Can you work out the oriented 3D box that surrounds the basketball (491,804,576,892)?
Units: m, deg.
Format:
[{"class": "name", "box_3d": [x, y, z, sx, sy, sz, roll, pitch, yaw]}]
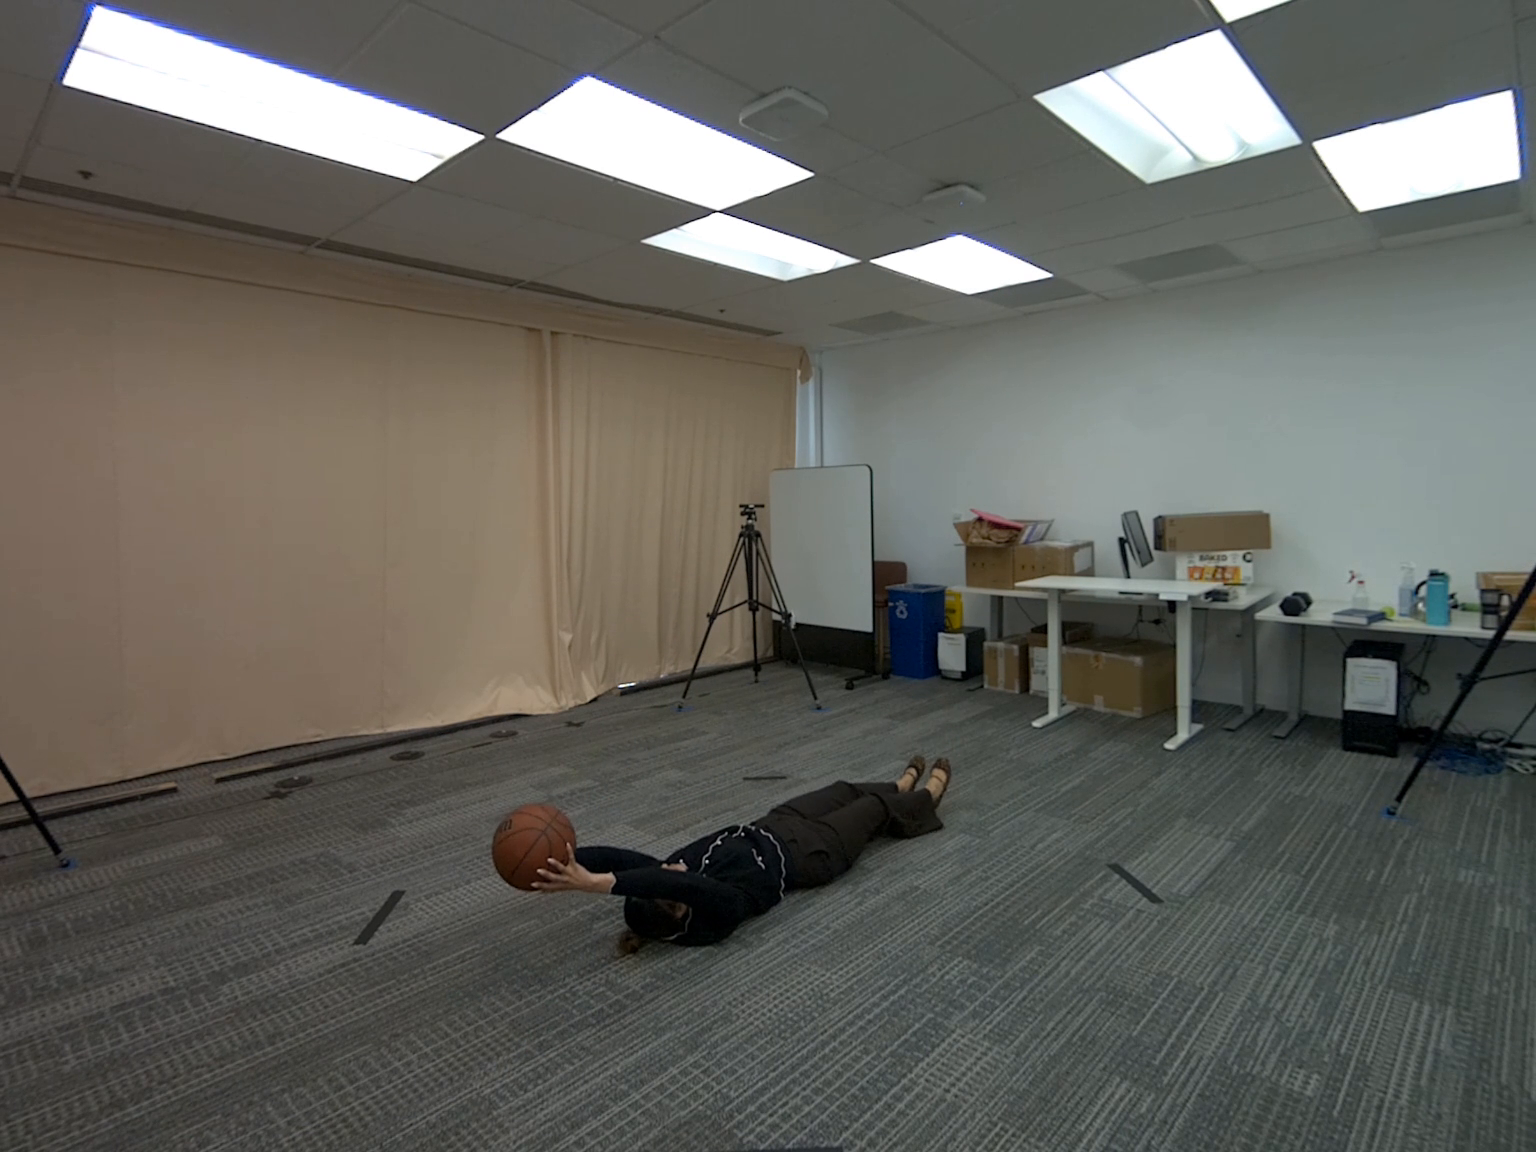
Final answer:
[{"class": "basketball", "box_3d": [-0.670, 0.774, 2.385, 0.236, 0.235, 0.237, -1, 4, -2]}]
